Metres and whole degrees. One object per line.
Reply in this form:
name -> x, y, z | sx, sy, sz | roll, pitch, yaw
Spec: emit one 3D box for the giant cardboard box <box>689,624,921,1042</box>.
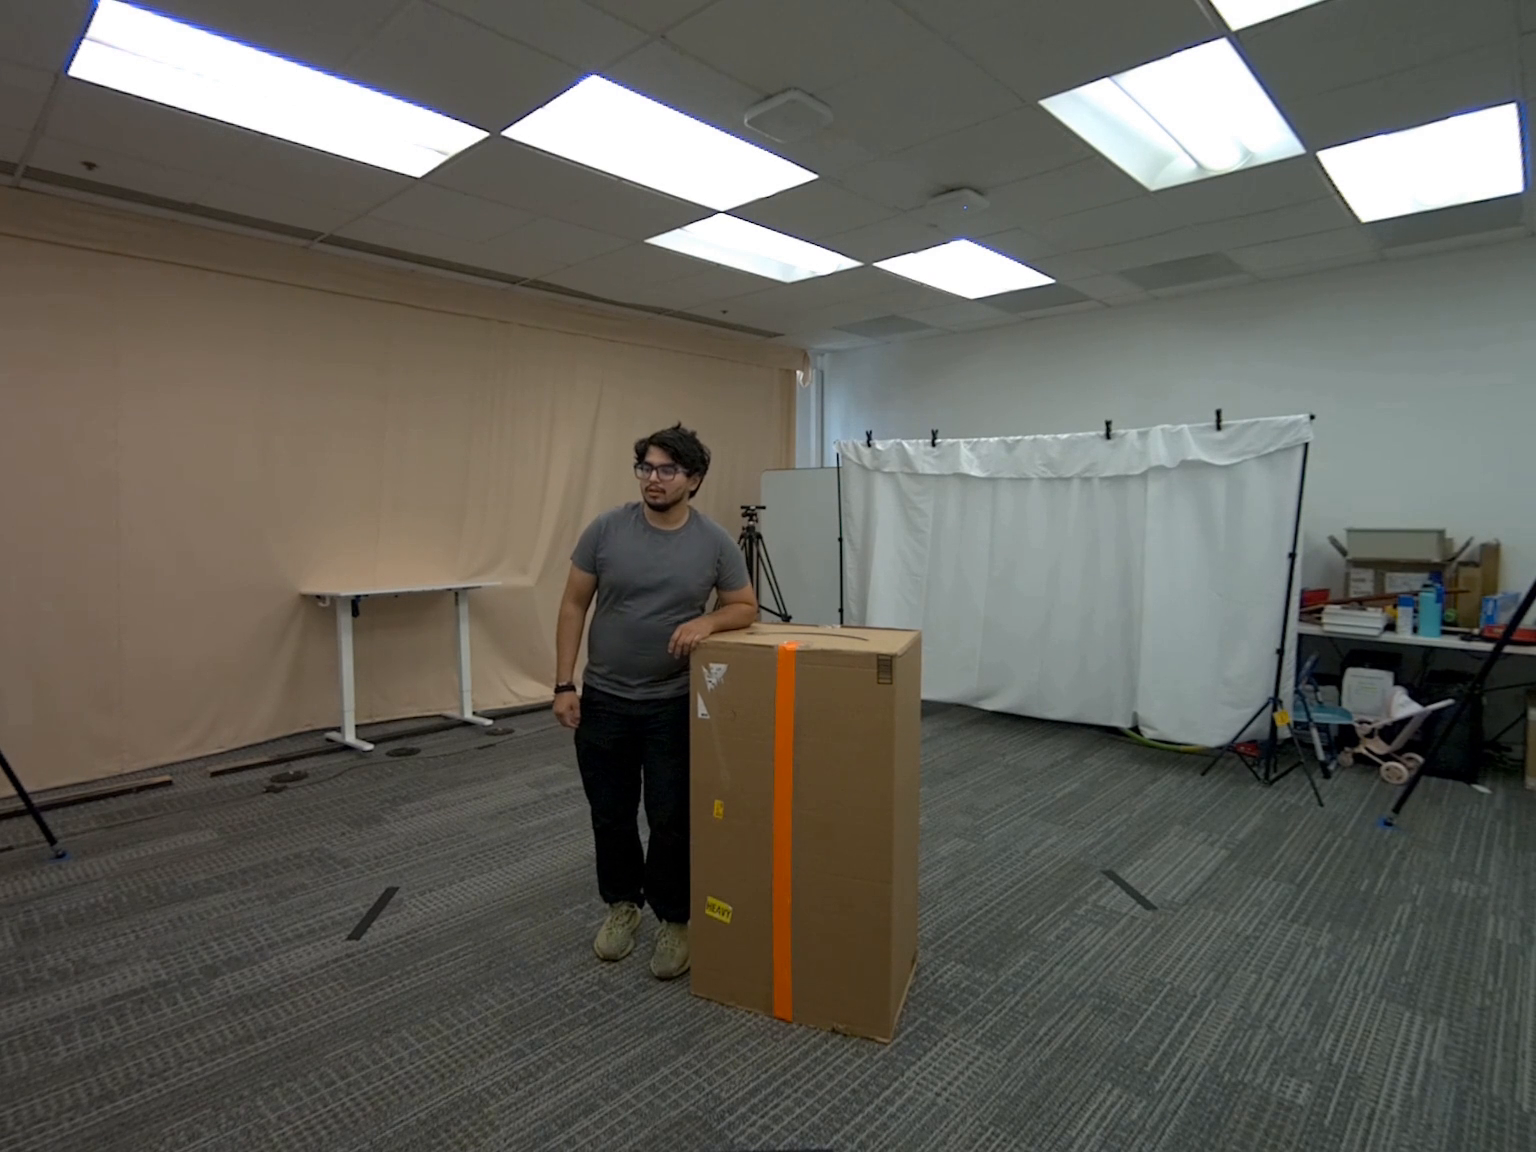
giant cardboard box -> 0.128, 0.679, 2.442 | 0.591, 1.024, 0.417 | 2, 3, 22
